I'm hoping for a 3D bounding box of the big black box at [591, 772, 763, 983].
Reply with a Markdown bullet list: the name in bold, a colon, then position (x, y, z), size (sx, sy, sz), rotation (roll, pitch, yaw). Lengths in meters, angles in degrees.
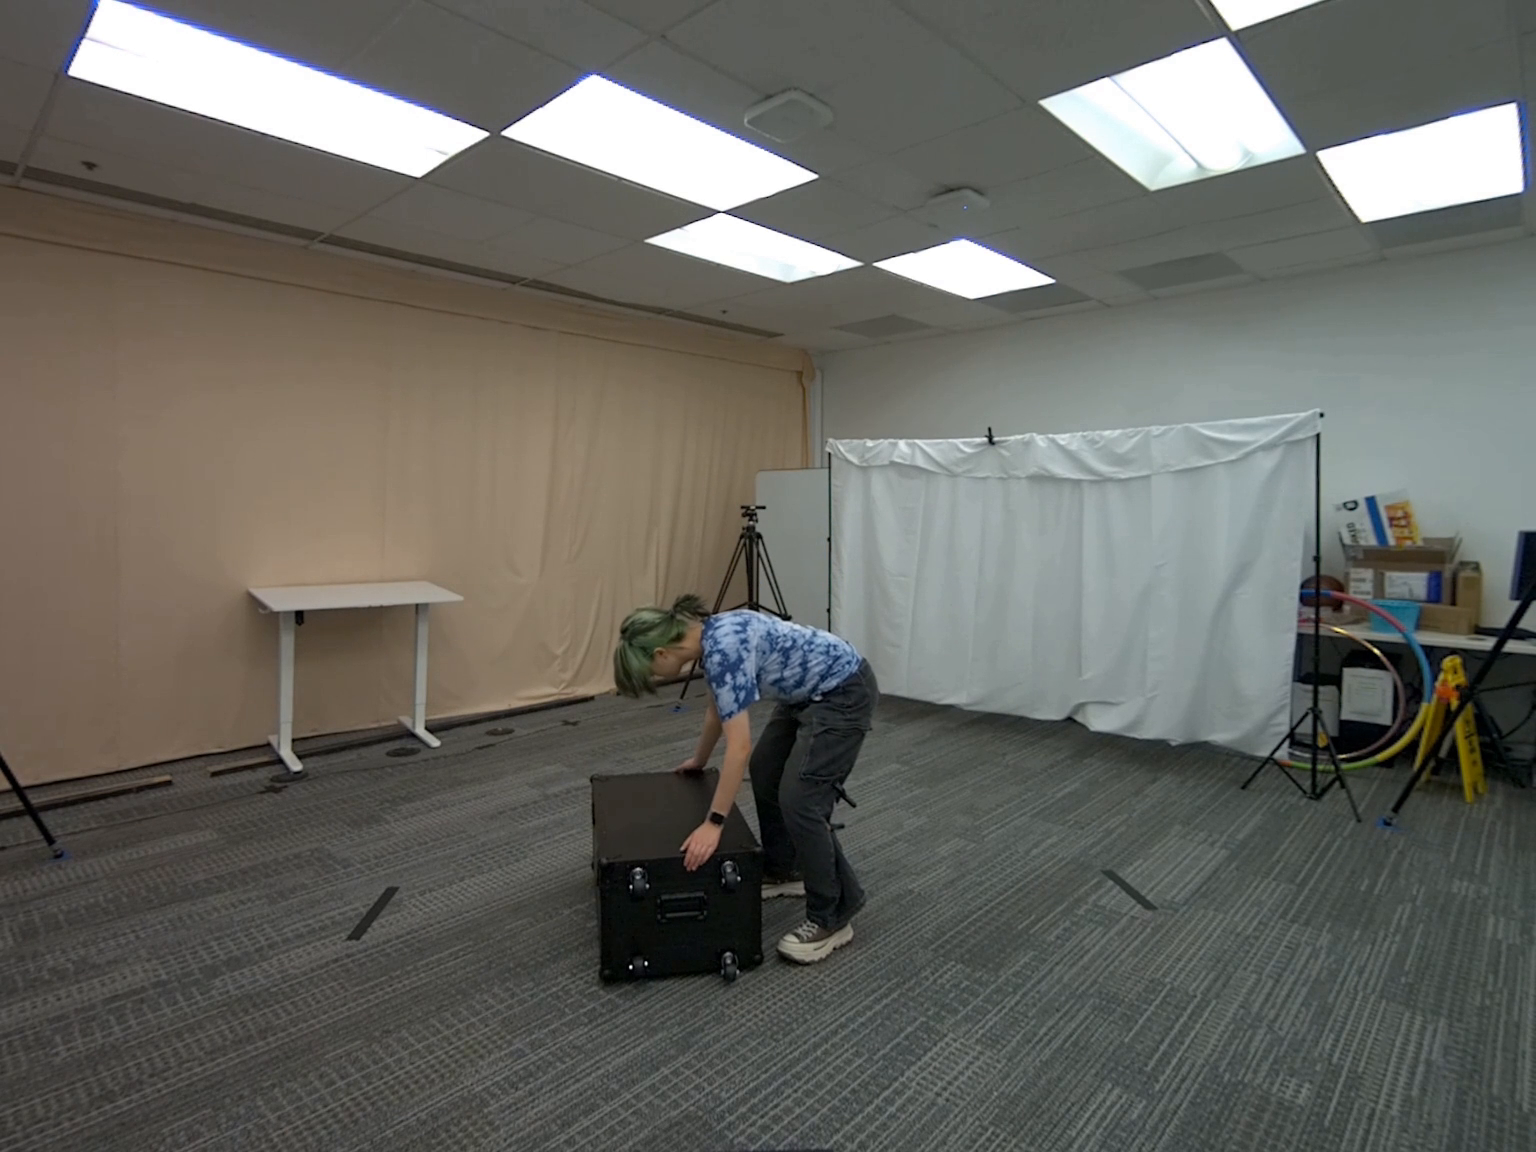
- **big black box**: position (-0.341, 0.957, 2.866), size (0.514, 0.395, 0.876), rotation (0, 4, -14)
